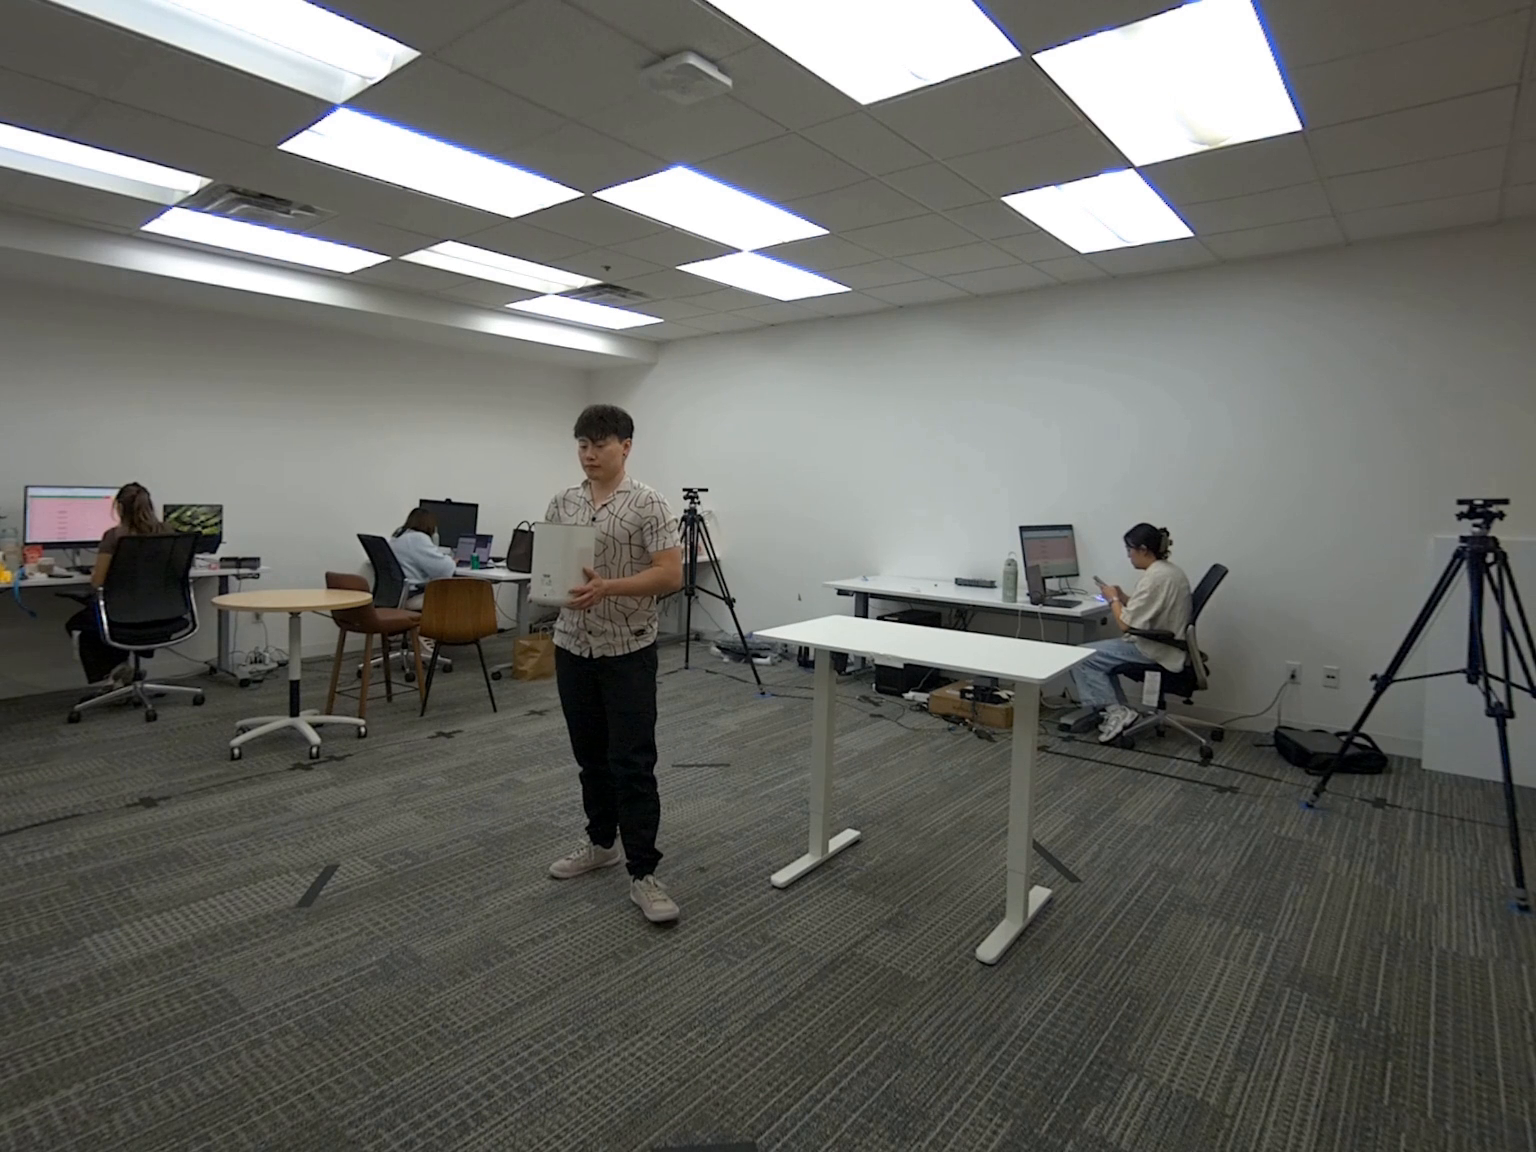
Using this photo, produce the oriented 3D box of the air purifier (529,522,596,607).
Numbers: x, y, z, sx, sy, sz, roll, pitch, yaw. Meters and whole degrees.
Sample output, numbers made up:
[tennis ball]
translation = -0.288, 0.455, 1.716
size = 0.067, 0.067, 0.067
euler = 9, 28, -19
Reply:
[air purifier]
translation = -0.681, -0.043, 2.774
size = 0.175, 0.265, 0.167
euler = 4, 0, 23
